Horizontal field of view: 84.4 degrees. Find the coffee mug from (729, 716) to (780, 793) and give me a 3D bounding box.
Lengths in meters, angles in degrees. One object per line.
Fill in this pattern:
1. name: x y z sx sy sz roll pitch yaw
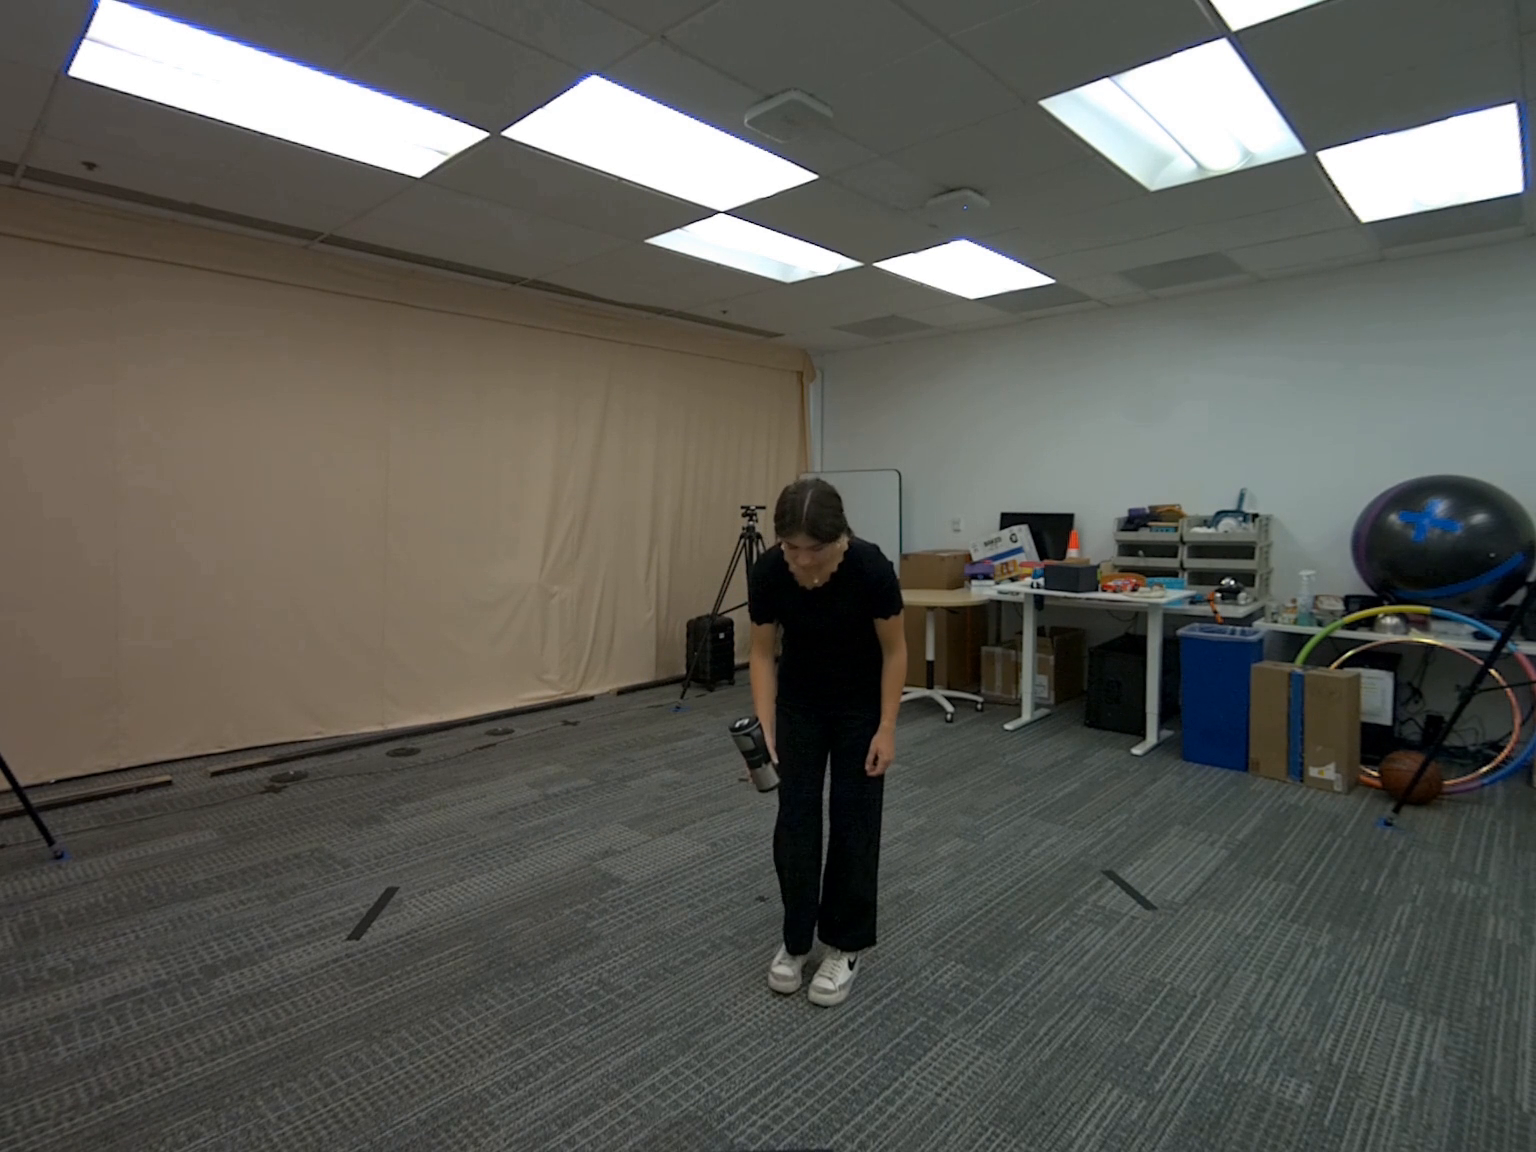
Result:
1. coffee mug: -0.012 0.495 2.275 0.087 0.202 0.124 -22 4 -15
